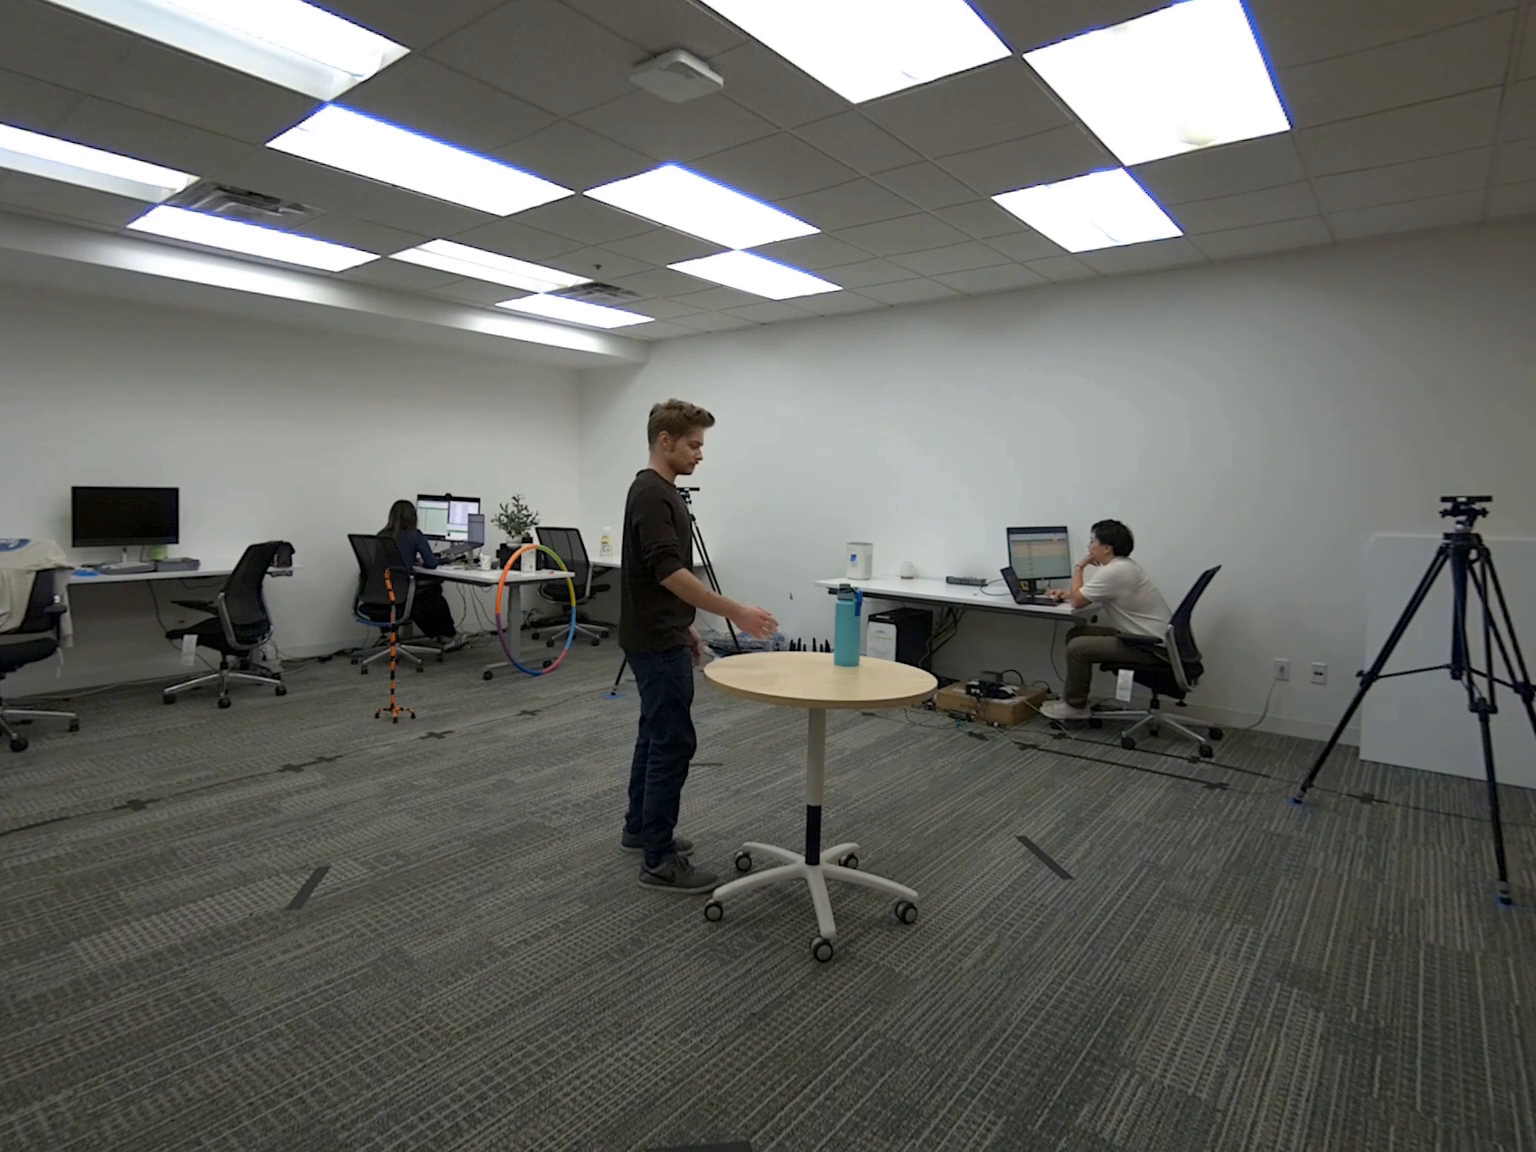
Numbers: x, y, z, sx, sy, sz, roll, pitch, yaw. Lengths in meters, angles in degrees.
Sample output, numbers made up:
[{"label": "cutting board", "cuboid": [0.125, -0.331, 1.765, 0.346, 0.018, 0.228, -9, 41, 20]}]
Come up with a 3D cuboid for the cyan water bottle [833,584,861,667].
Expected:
[{"label": "cyan water bottle", "cuboid": [0.271, 0.170, 2.986, 0.092, 0.282, 0.093, 4, 4, -2]}]
